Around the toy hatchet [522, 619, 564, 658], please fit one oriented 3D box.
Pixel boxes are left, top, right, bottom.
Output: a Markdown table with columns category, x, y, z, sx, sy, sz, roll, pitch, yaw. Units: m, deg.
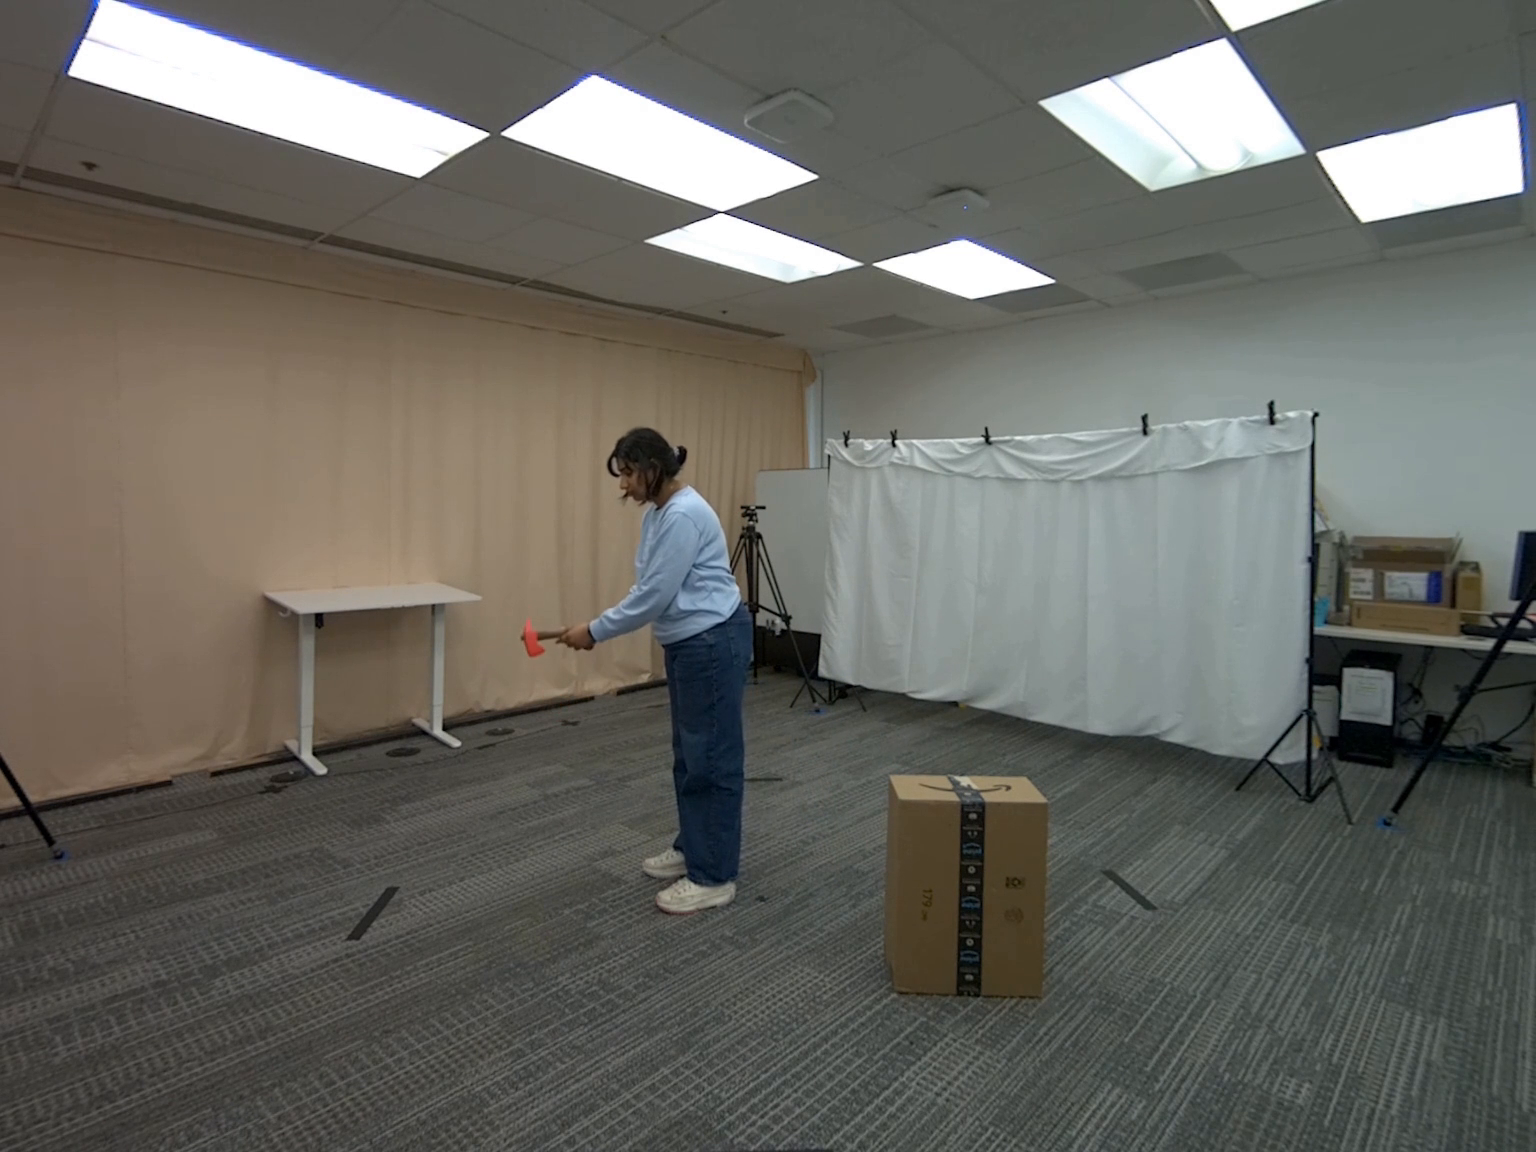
| category | x | y | z | sx | sy | sz | roll | pitch | yaw |
| --- | --- | --- | --- | --- | --- | --- | --- | --- | --- |
| toy hatchet | -0.725 | 0.224 | 2.964 | 0.265 | 0.132 | 0.030 | 12 | -12 | -15 |
